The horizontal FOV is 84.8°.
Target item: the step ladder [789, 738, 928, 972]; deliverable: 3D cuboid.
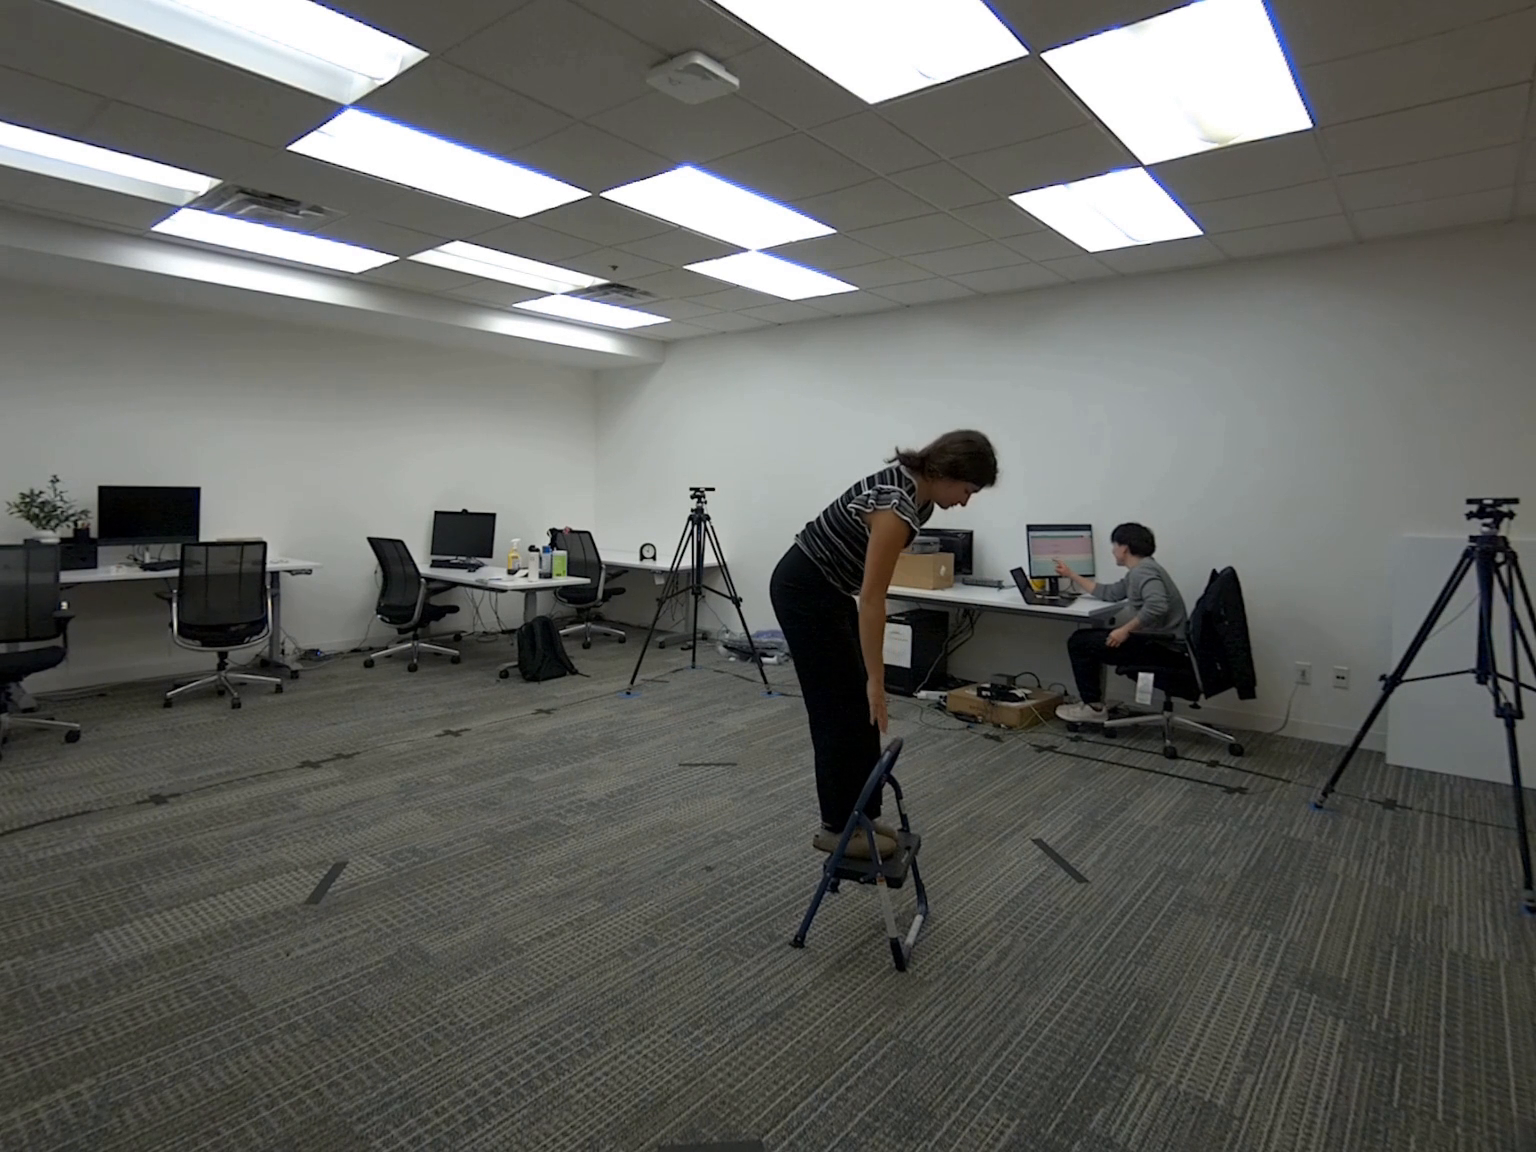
[{"bbox_3d":[0.306,0.819,2.699,0.357,0.604,0.422,3,4,21],"label":"step ladder"}]
